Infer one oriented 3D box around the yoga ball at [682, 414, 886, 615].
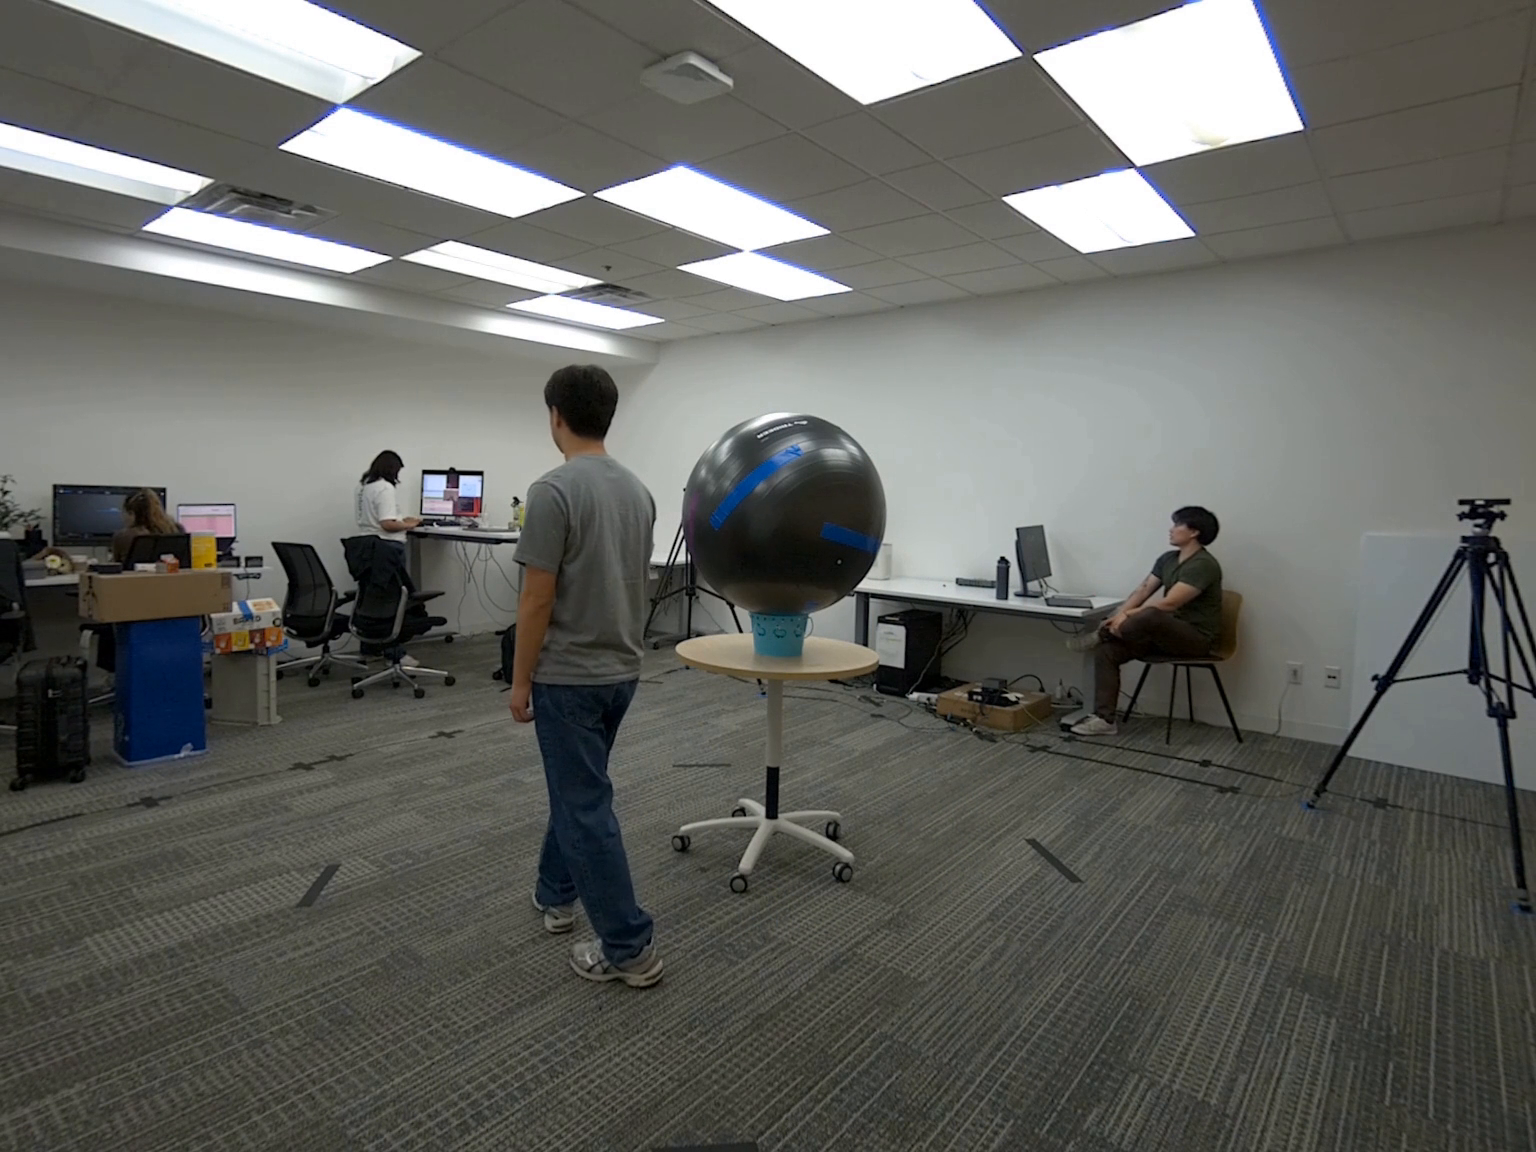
[{"bbox_3d":[0.045,-0.229,3.180,0.757,0.755,0.762,1,4,-2],"label":"yoga ball"}]
